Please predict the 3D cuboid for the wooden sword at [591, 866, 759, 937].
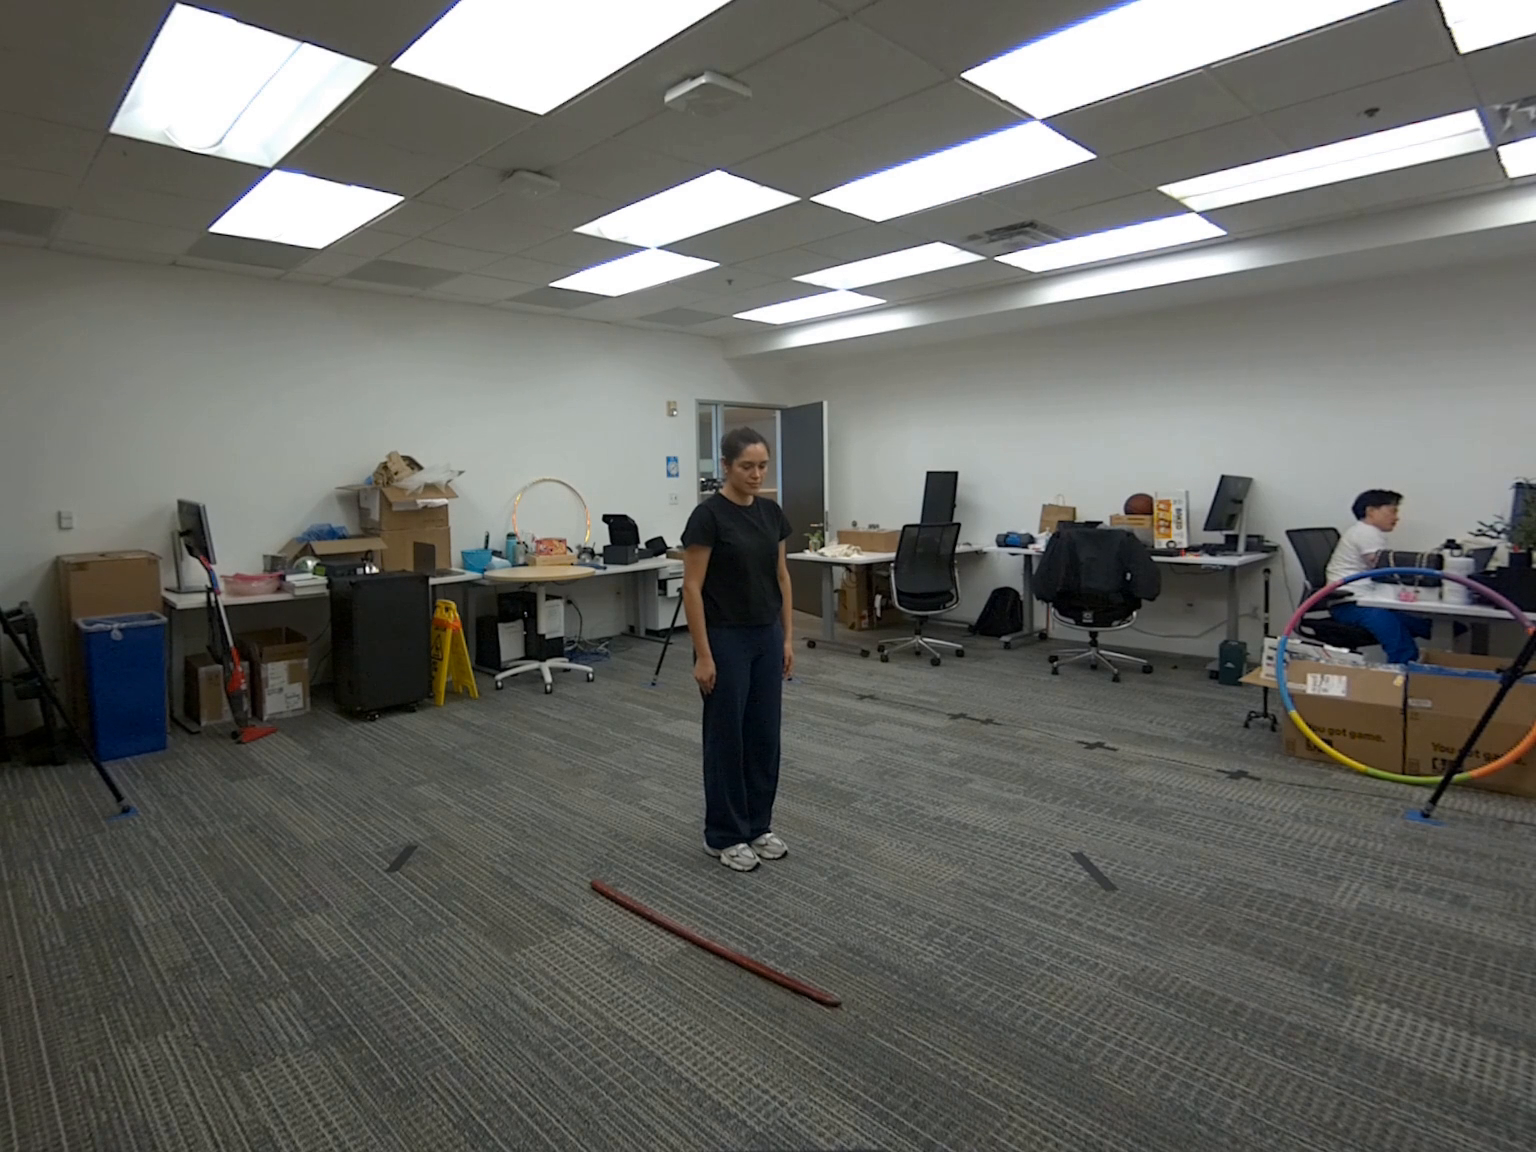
[{"bbox_3d":[-0.210,1.083,2.619,1.056,0.024,0.050,4,14,40],"label":"wooden sword"}]
